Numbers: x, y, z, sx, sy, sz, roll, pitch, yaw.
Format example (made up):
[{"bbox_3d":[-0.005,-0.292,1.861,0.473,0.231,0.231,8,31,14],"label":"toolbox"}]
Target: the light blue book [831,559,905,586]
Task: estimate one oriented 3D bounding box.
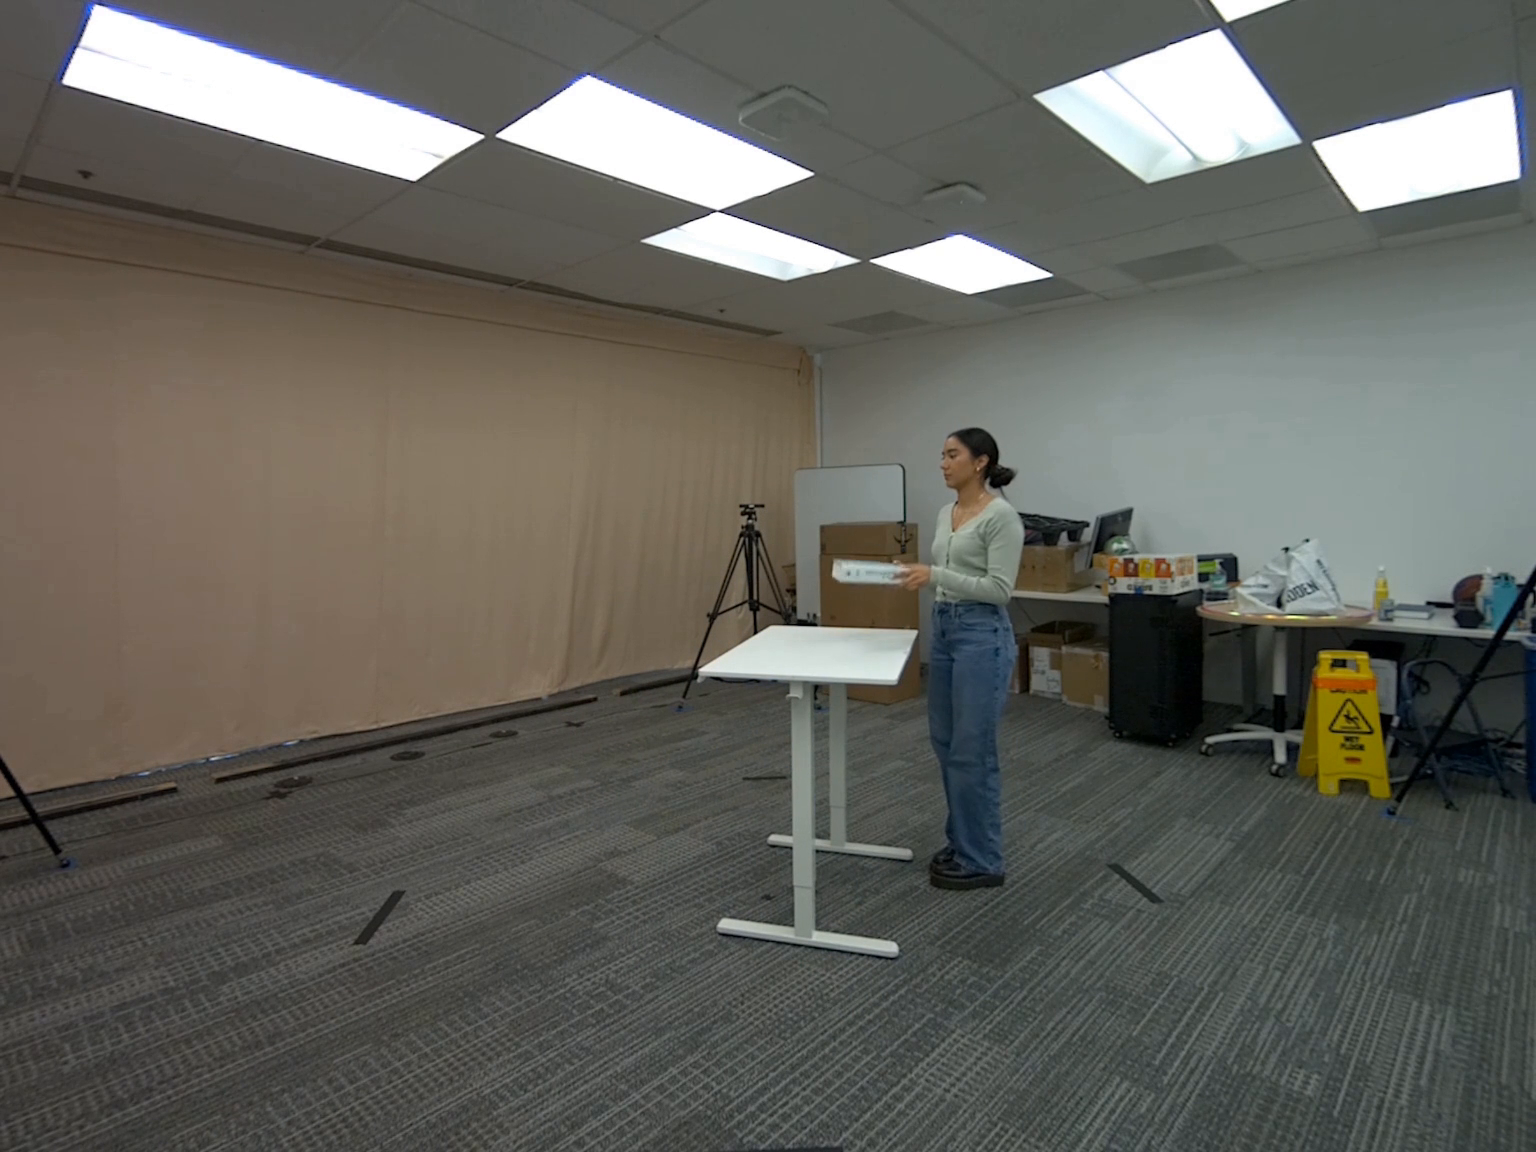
[{"bbox_3d":[0.407,-0.034,3.066,0.260,0.059,0.193,0,7,-4],"label":"light blue book"}]
